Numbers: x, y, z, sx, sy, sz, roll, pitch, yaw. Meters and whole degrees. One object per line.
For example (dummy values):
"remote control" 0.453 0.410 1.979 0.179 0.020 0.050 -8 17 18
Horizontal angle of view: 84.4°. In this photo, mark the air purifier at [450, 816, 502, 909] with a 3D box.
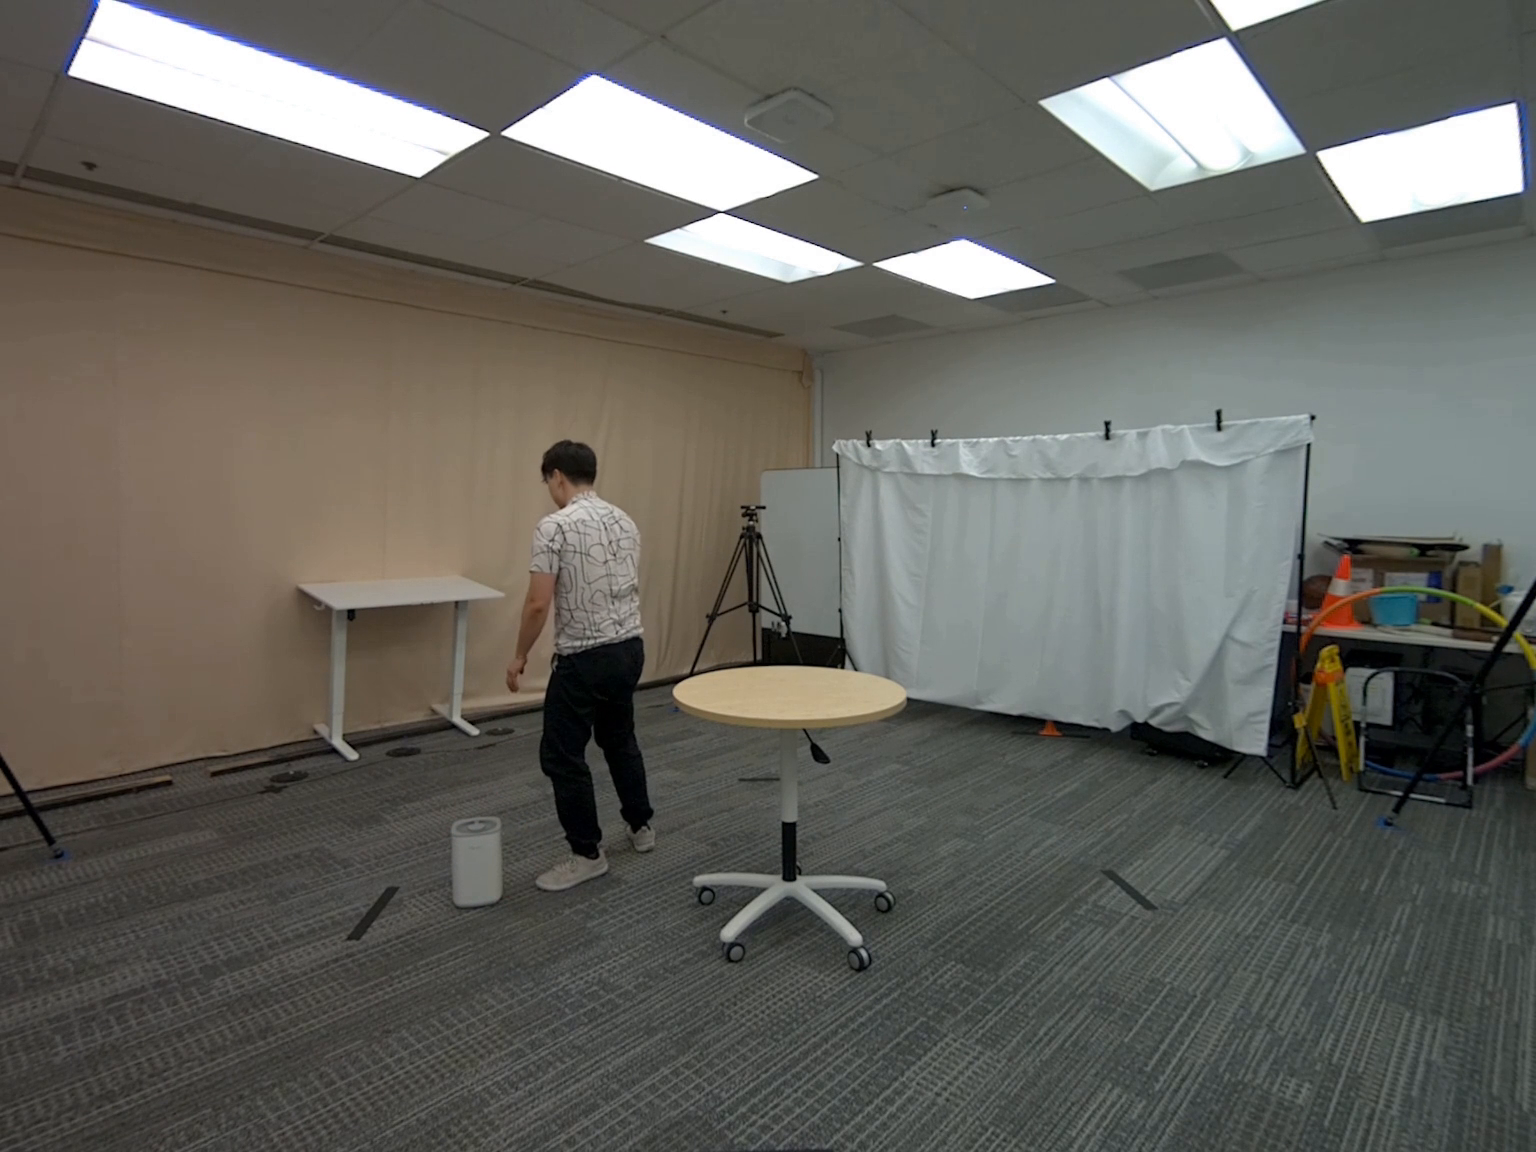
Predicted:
"air purifier" -1.036 1.022 2.994 0.168 0.265 0.175 -2 3 -20
